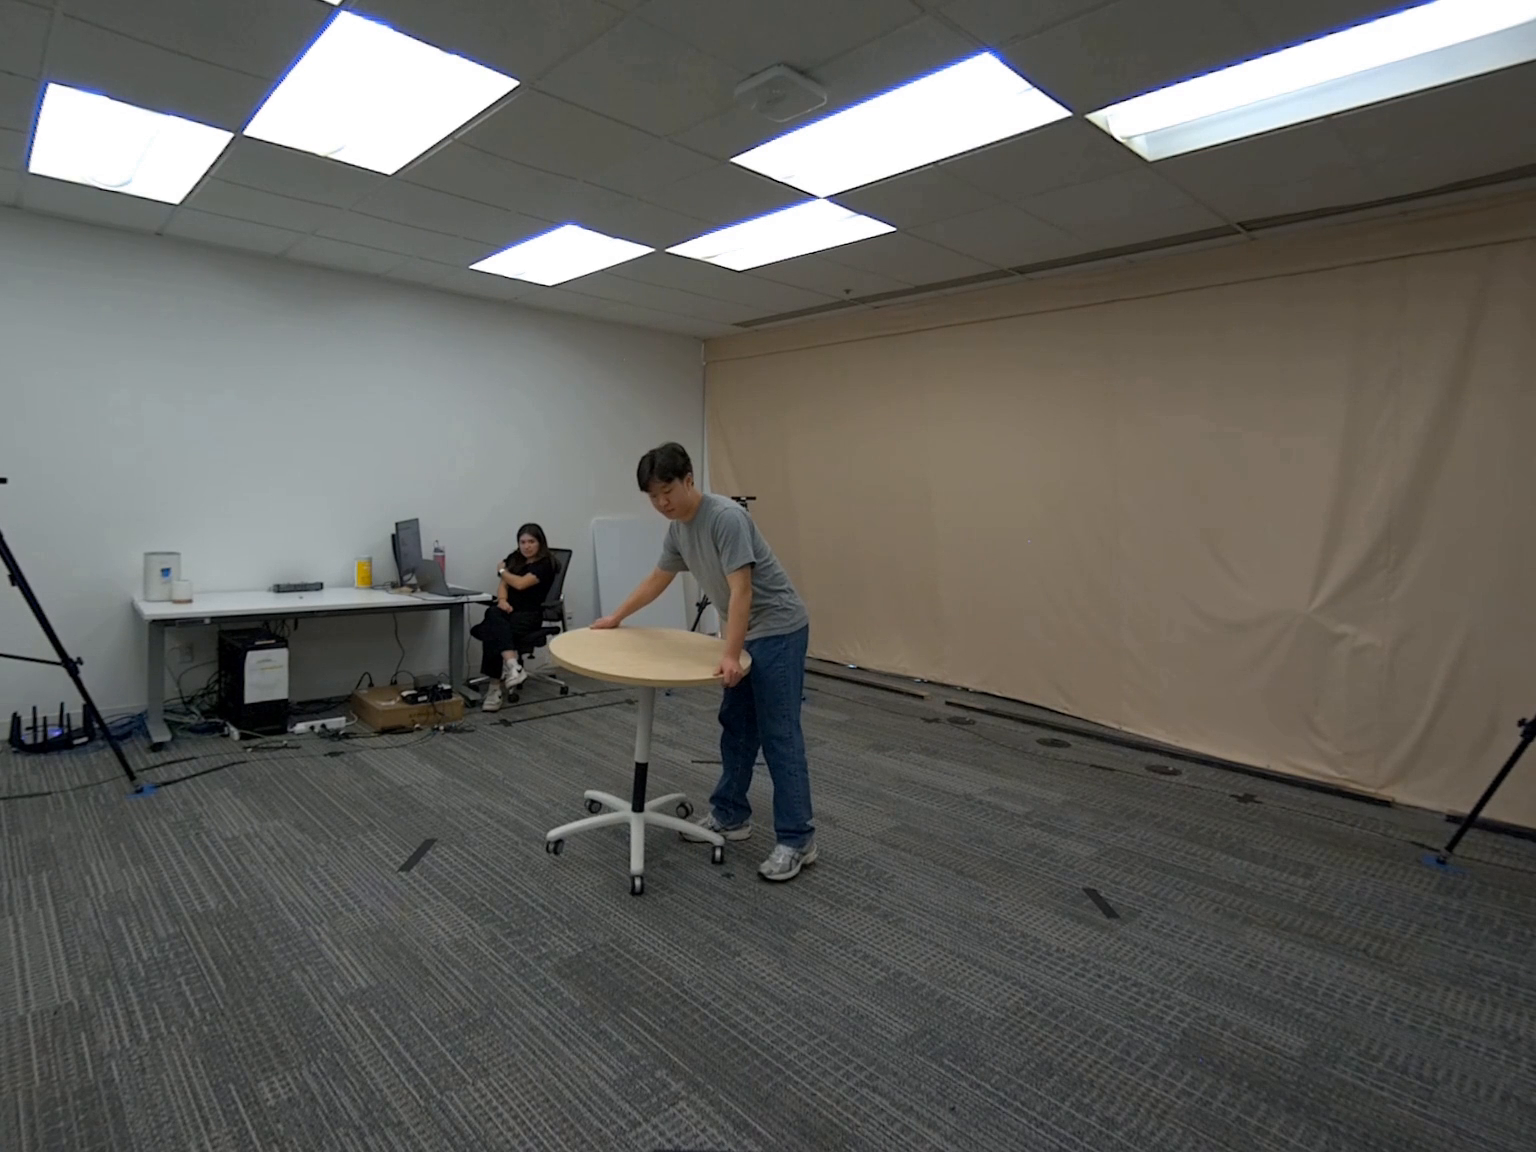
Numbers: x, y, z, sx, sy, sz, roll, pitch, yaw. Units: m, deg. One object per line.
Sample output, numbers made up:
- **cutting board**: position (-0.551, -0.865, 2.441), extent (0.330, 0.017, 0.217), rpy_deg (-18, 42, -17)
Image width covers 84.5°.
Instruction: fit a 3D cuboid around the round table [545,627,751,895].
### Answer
- **round table**: position (-0.491, 0.671, 3.239), extent (0.763, 0.790, 0.769), rpy_deg (5, 8, -2)
